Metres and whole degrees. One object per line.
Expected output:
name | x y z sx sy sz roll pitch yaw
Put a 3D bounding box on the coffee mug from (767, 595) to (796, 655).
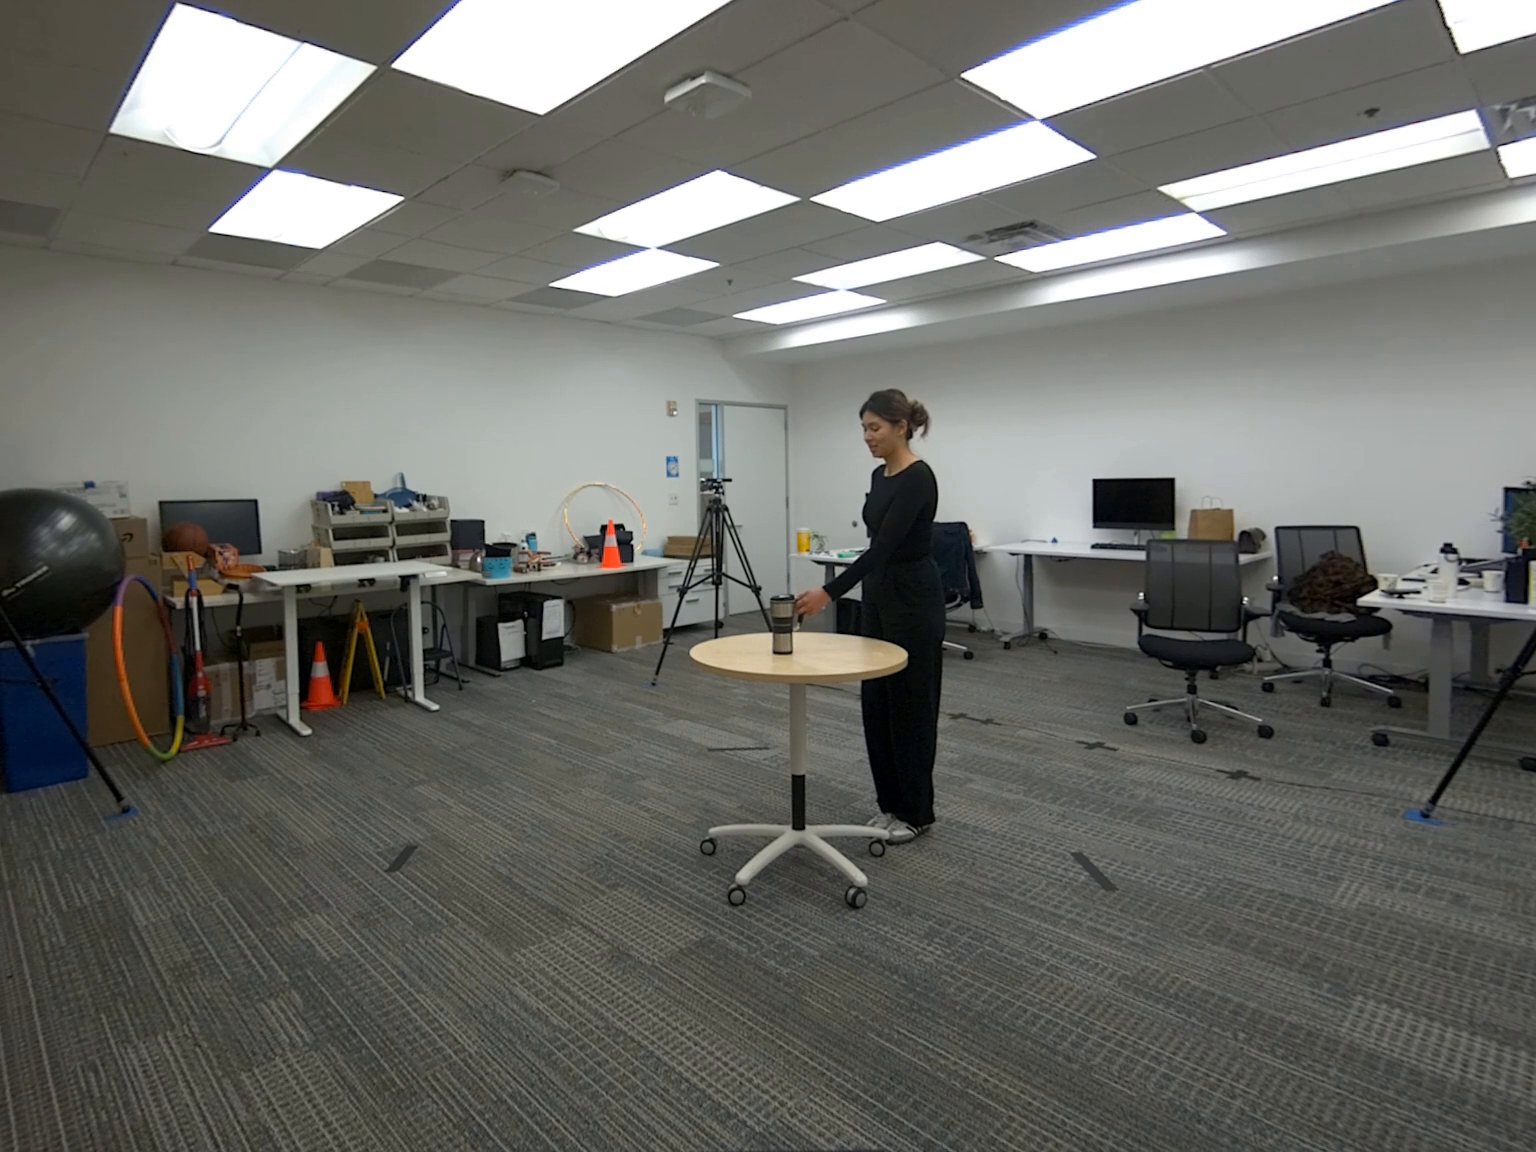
coffee mug | 0.075 0.174 2.983 0.124 0.203 0.086 -2 -1 15
